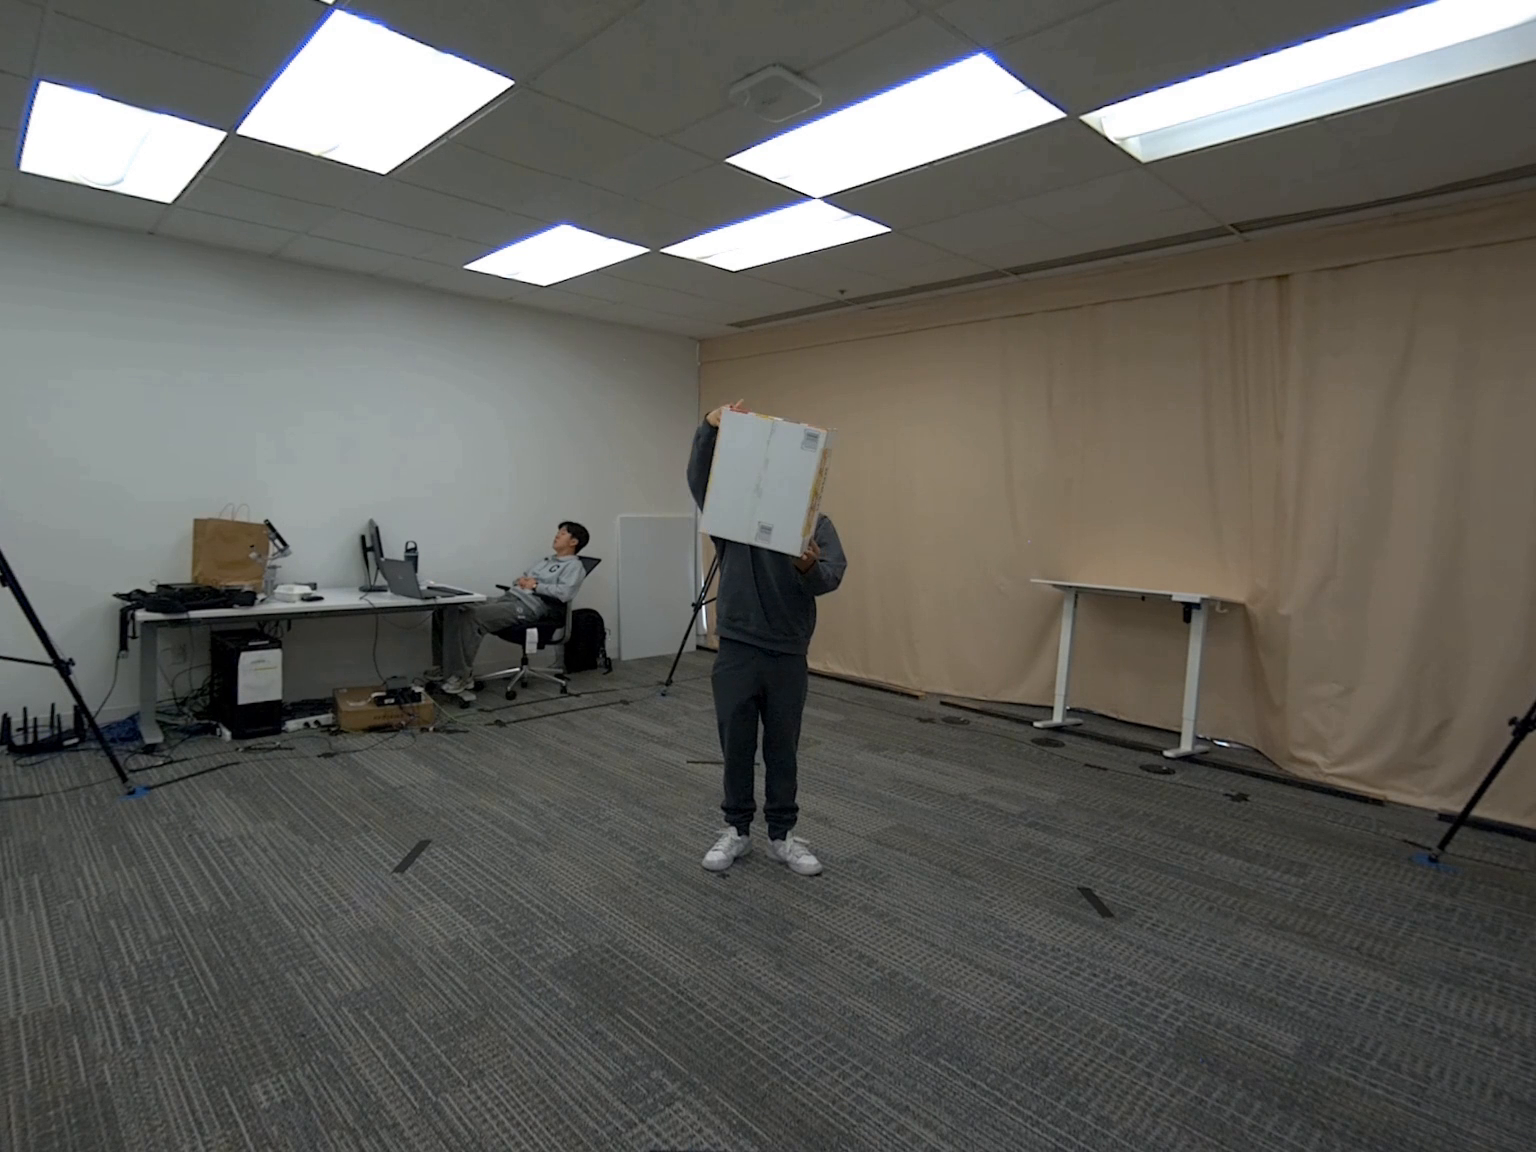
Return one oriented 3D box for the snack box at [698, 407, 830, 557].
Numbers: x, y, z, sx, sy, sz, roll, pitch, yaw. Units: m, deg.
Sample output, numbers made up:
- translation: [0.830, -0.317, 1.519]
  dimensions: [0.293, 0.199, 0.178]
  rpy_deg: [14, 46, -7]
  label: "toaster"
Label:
- translation: [-0.013, -0.310, 2.696]
  dimensions: [0.345, 0.402, 0.204]
  rpy_deg: [15, 11, 13]
  label: "snack box"
